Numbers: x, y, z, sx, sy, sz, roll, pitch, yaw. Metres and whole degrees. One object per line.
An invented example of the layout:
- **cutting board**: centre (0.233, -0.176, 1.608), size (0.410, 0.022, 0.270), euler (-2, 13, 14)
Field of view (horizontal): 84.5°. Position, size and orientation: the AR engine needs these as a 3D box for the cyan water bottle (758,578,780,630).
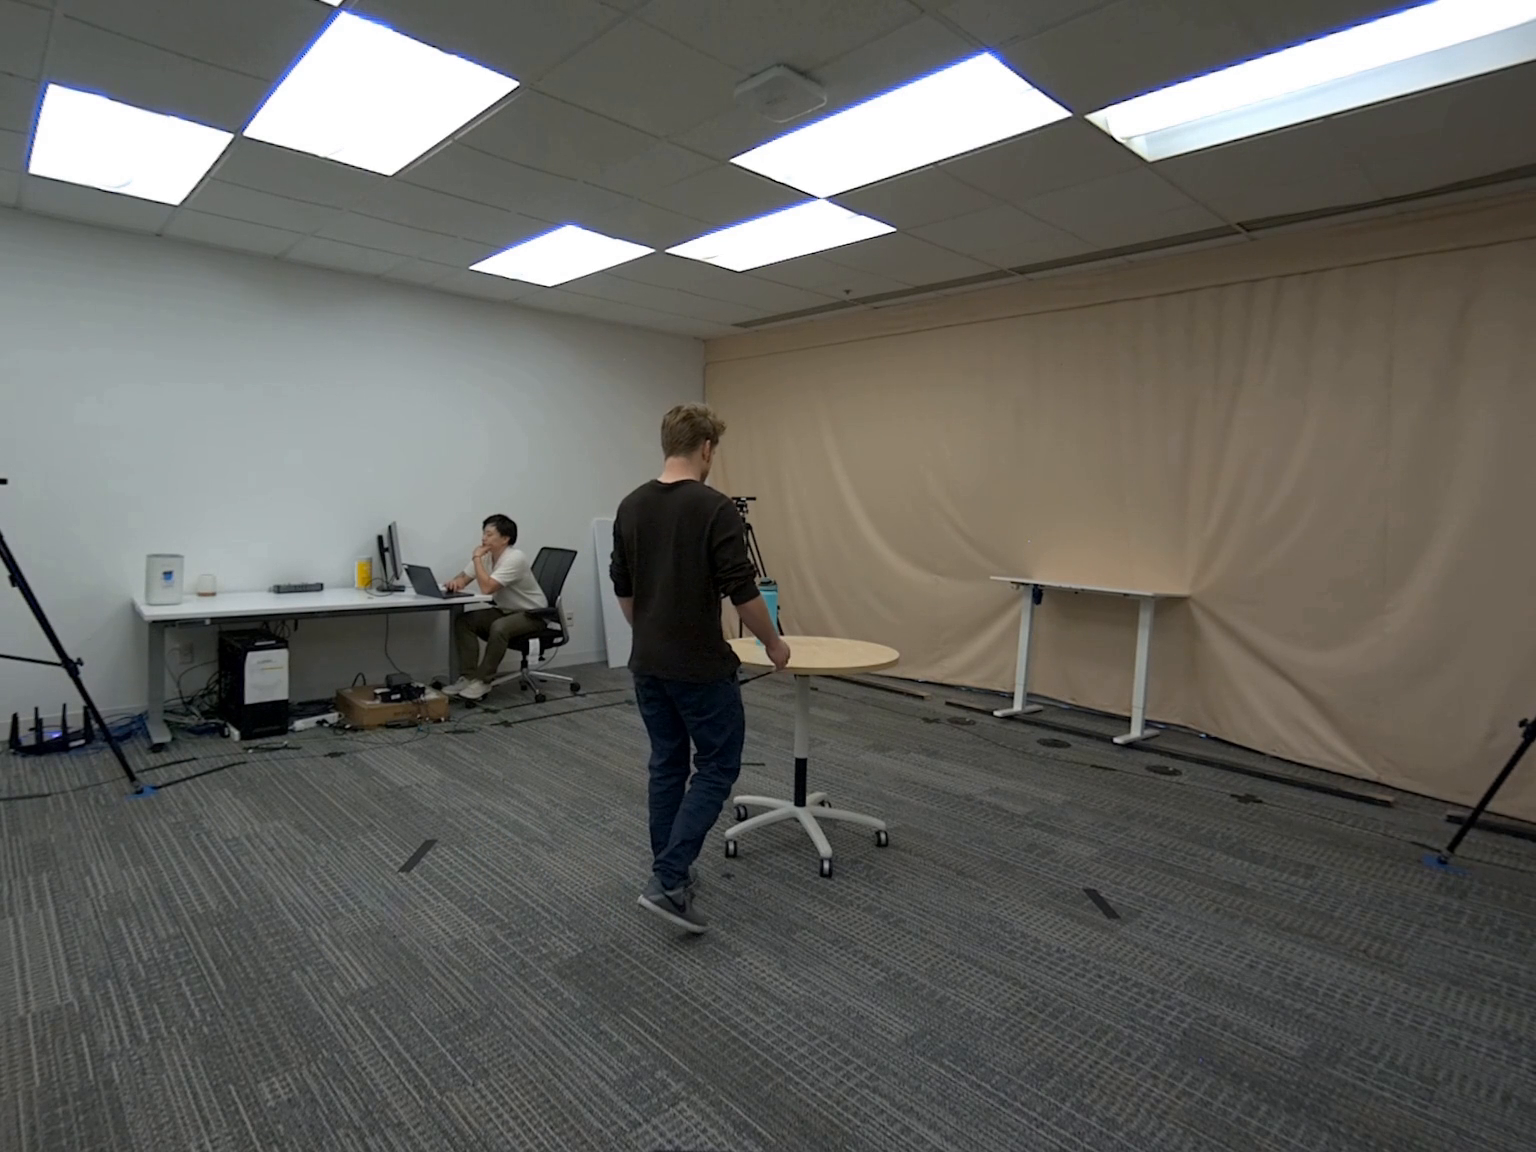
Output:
- **cyan water bottle**: centre (-0.011, 0.149, 3.579), size (0.092, 0.283, 0.092), euler (3, 2, -2)
